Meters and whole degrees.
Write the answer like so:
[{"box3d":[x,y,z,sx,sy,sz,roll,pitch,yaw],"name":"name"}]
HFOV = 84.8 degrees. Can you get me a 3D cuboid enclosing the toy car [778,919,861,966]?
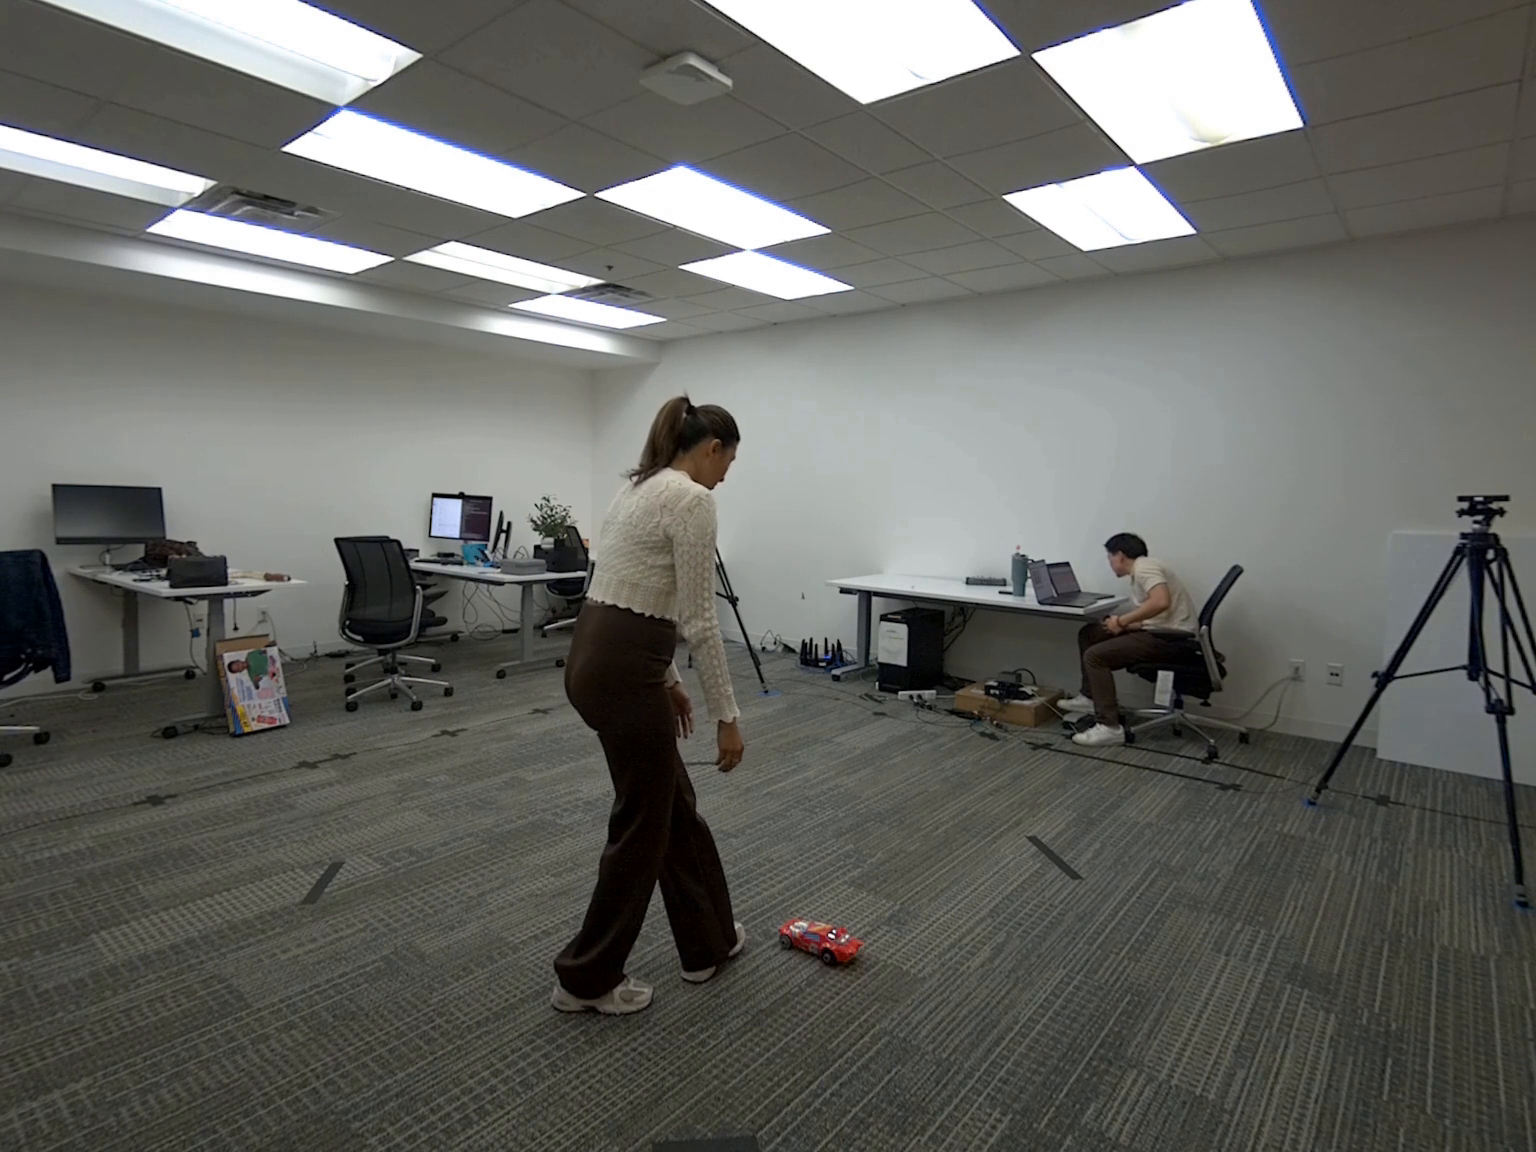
[{"box3d":[0.161,1.098,2.557,0.261,0.083,0.127,-7,-1,35],"name":"toy car"}]
